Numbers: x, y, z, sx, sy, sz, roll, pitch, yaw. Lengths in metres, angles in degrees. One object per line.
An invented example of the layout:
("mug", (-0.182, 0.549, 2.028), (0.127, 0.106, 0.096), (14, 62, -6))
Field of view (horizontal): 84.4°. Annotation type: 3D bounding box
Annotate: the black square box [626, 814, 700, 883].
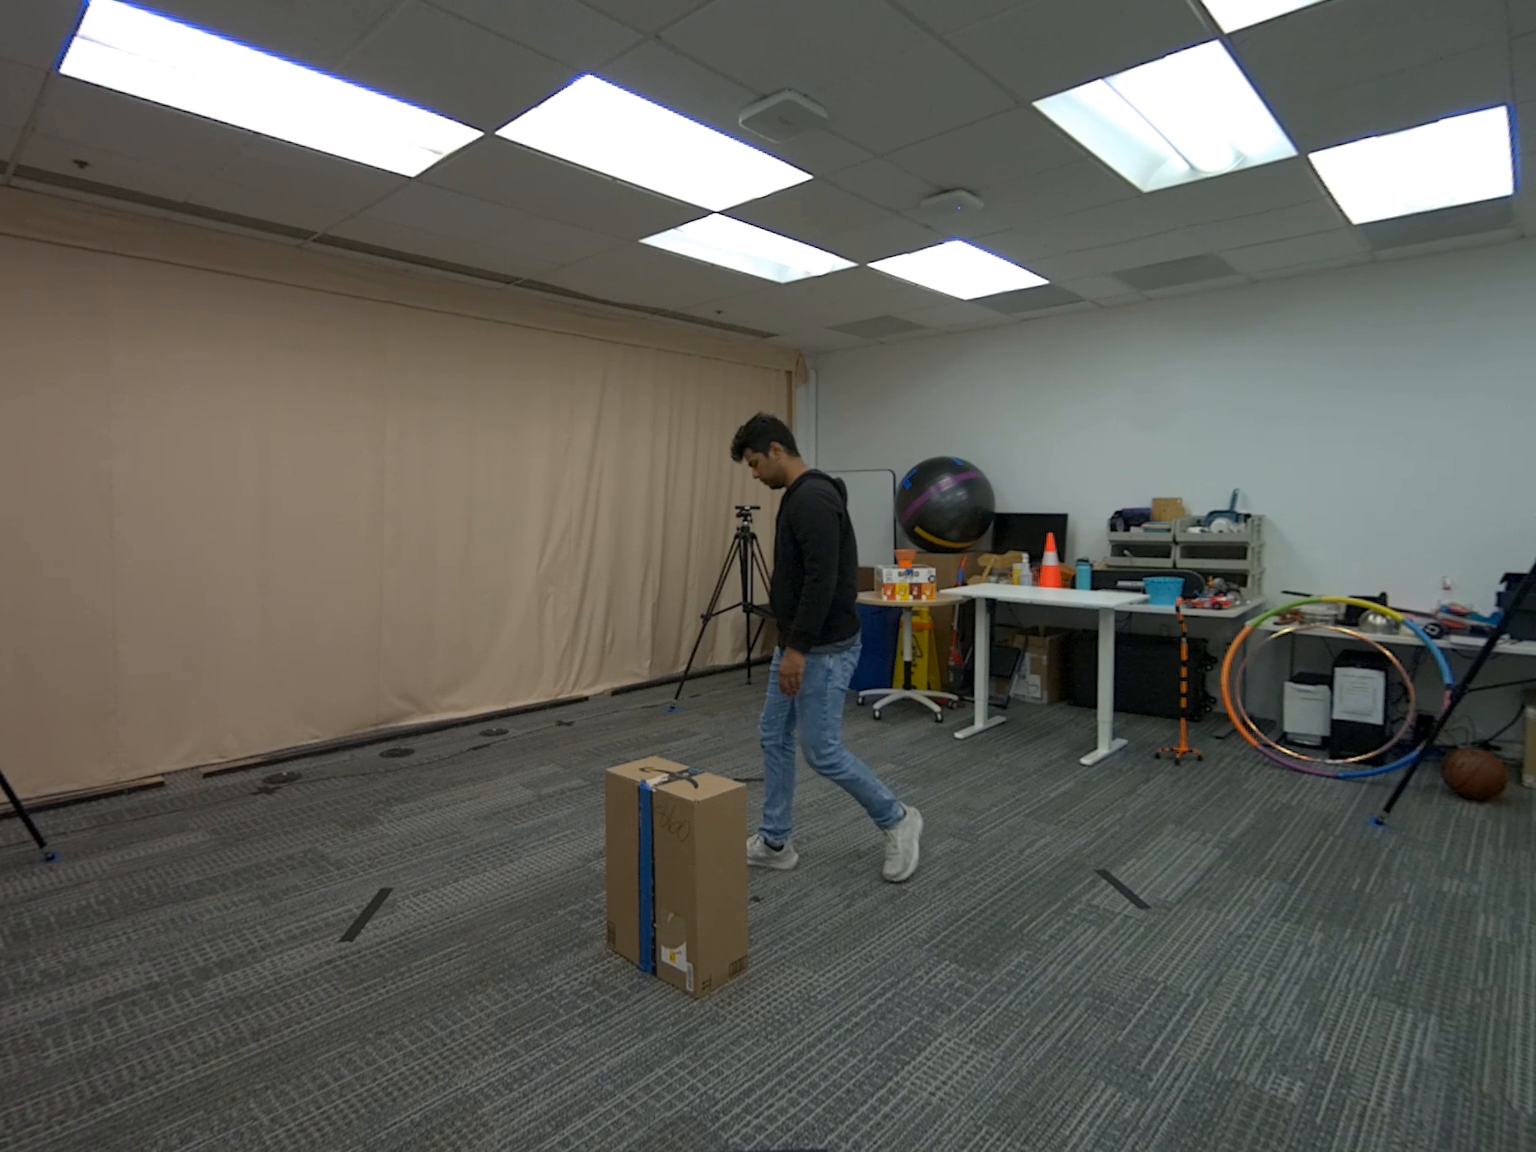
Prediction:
("black square box", (-0.404, 1.042, 3.257), (0.220, 0.156, 0.225), (0, 3, 14))
